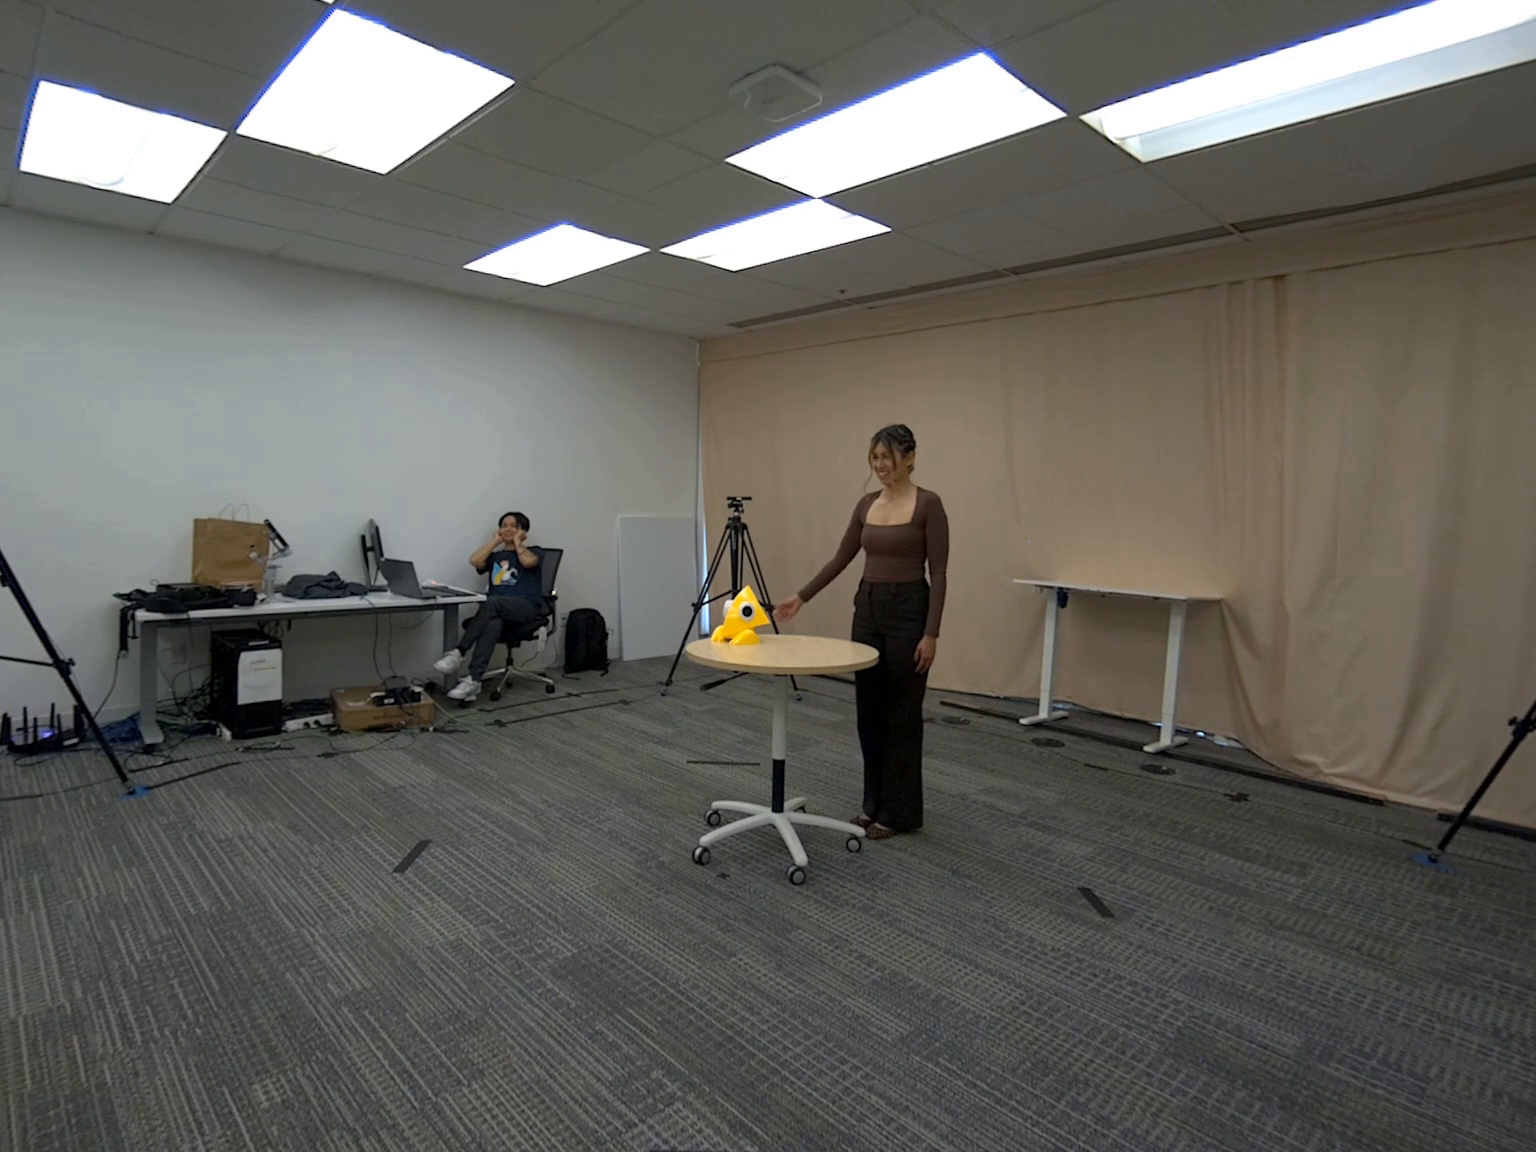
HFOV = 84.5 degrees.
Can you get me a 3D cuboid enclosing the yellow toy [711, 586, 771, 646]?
[{"bbox_3d":[-0.132,0.158,3.536,0.210,0.230,0.189,3,5,42],"label":"yellow toy"}]
